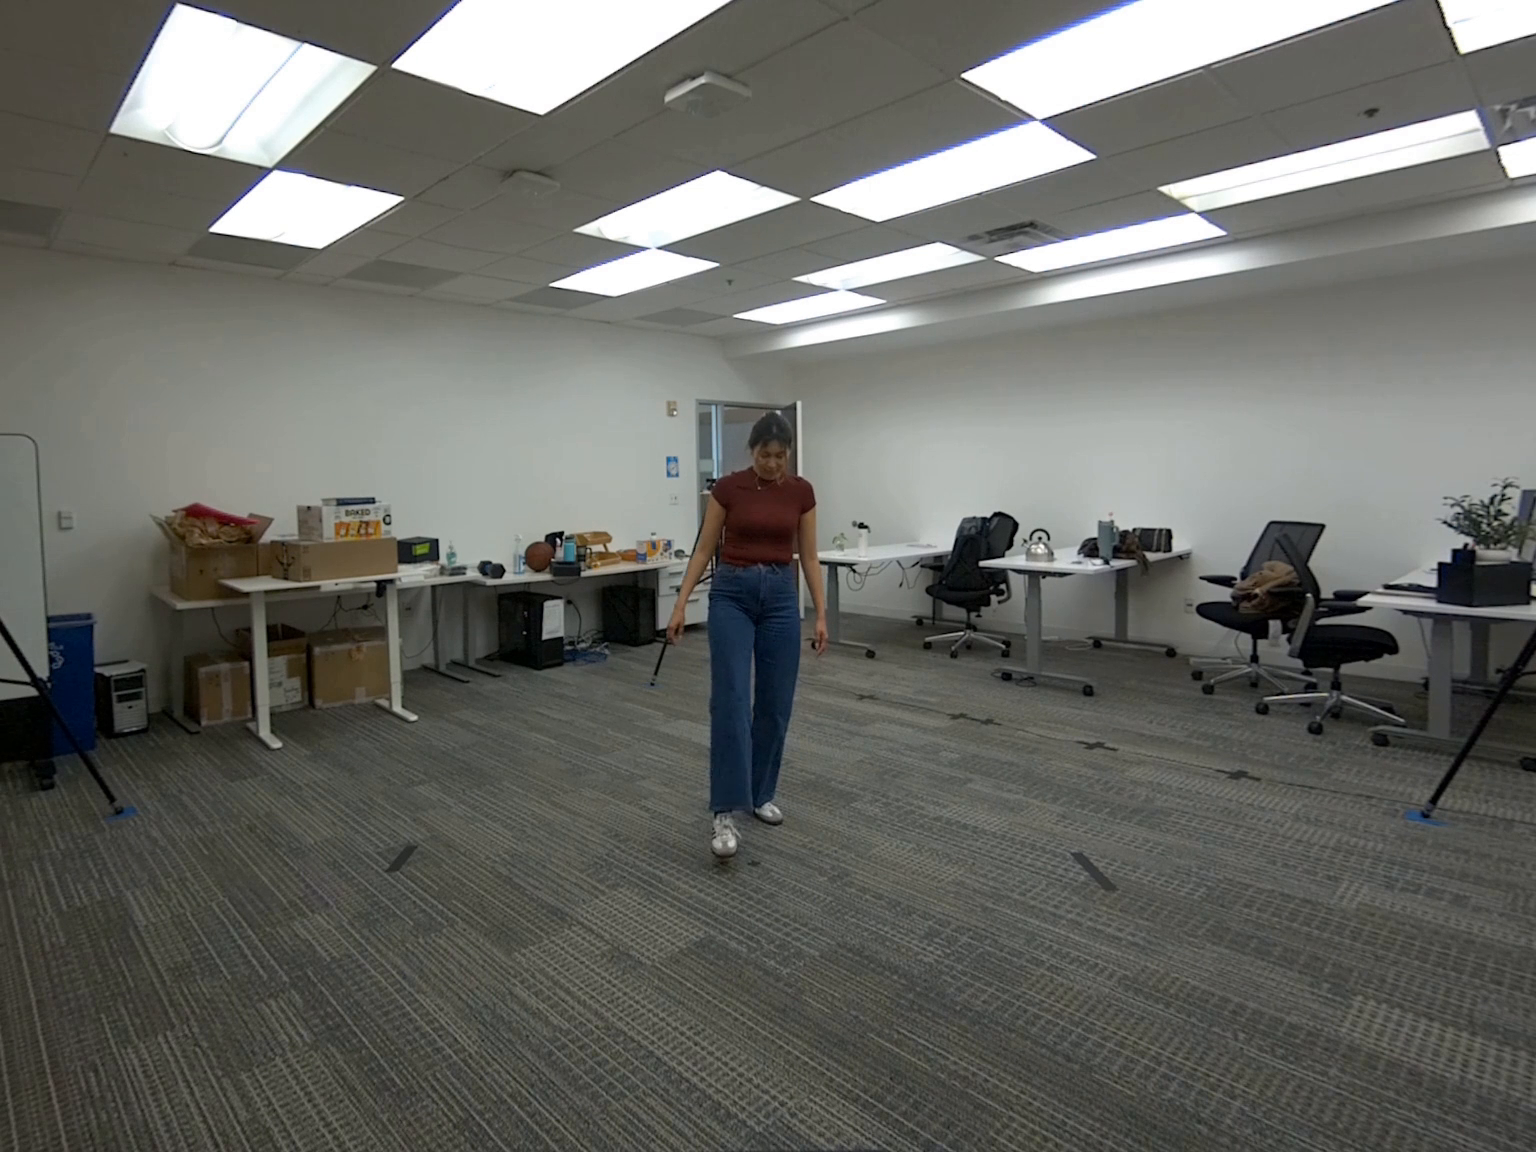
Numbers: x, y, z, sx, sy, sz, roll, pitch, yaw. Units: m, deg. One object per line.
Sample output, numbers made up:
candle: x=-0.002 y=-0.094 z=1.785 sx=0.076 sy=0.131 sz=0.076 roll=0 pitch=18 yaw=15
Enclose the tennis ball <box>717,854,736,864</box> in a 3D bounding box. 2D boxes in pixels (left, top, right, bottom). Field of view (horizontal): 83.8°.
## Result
tennis ball: x=-0.155 y=0.996 z=3.119 sx=0.066 sy=0.066 sz=0.067 roll=-1 pitch=5 yaw=-2
